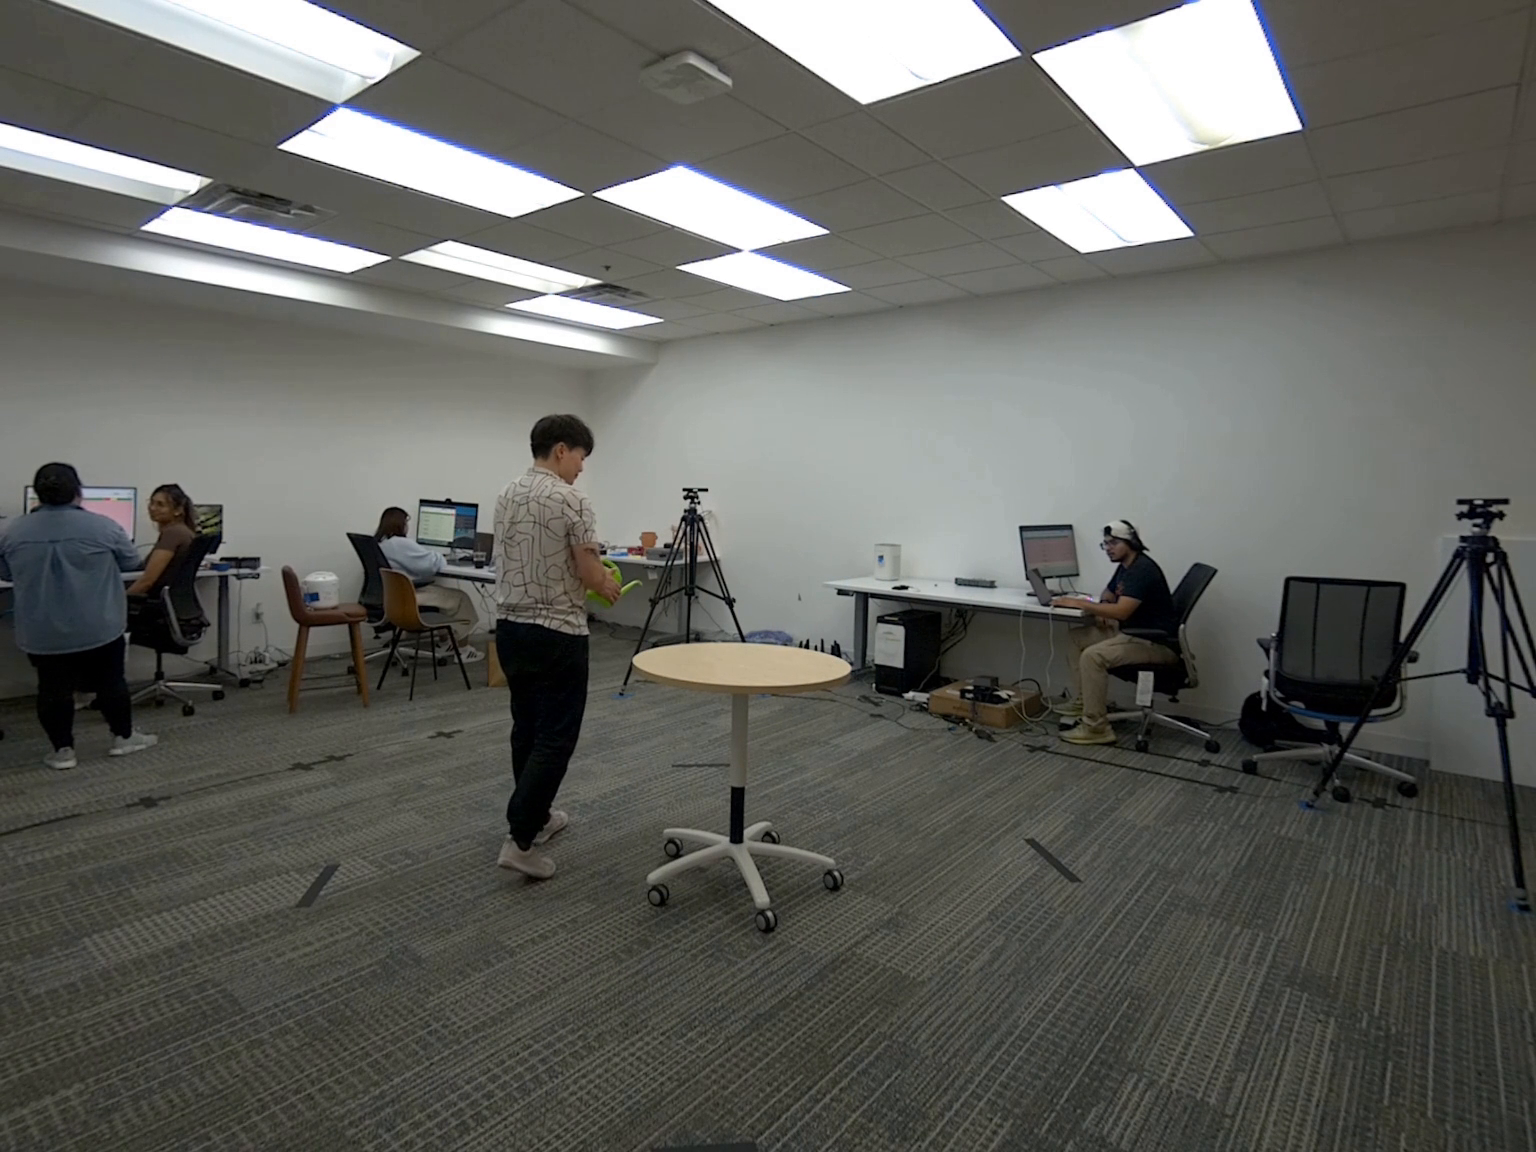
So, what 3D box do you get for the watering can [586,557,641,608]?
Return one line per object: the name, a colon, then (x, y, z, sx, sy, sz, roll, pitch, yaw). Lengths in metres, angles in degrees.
watering can: (-0.647, 0.048, 3.463, 0.268, 0.179, 0.100, 31, -24, -31)
